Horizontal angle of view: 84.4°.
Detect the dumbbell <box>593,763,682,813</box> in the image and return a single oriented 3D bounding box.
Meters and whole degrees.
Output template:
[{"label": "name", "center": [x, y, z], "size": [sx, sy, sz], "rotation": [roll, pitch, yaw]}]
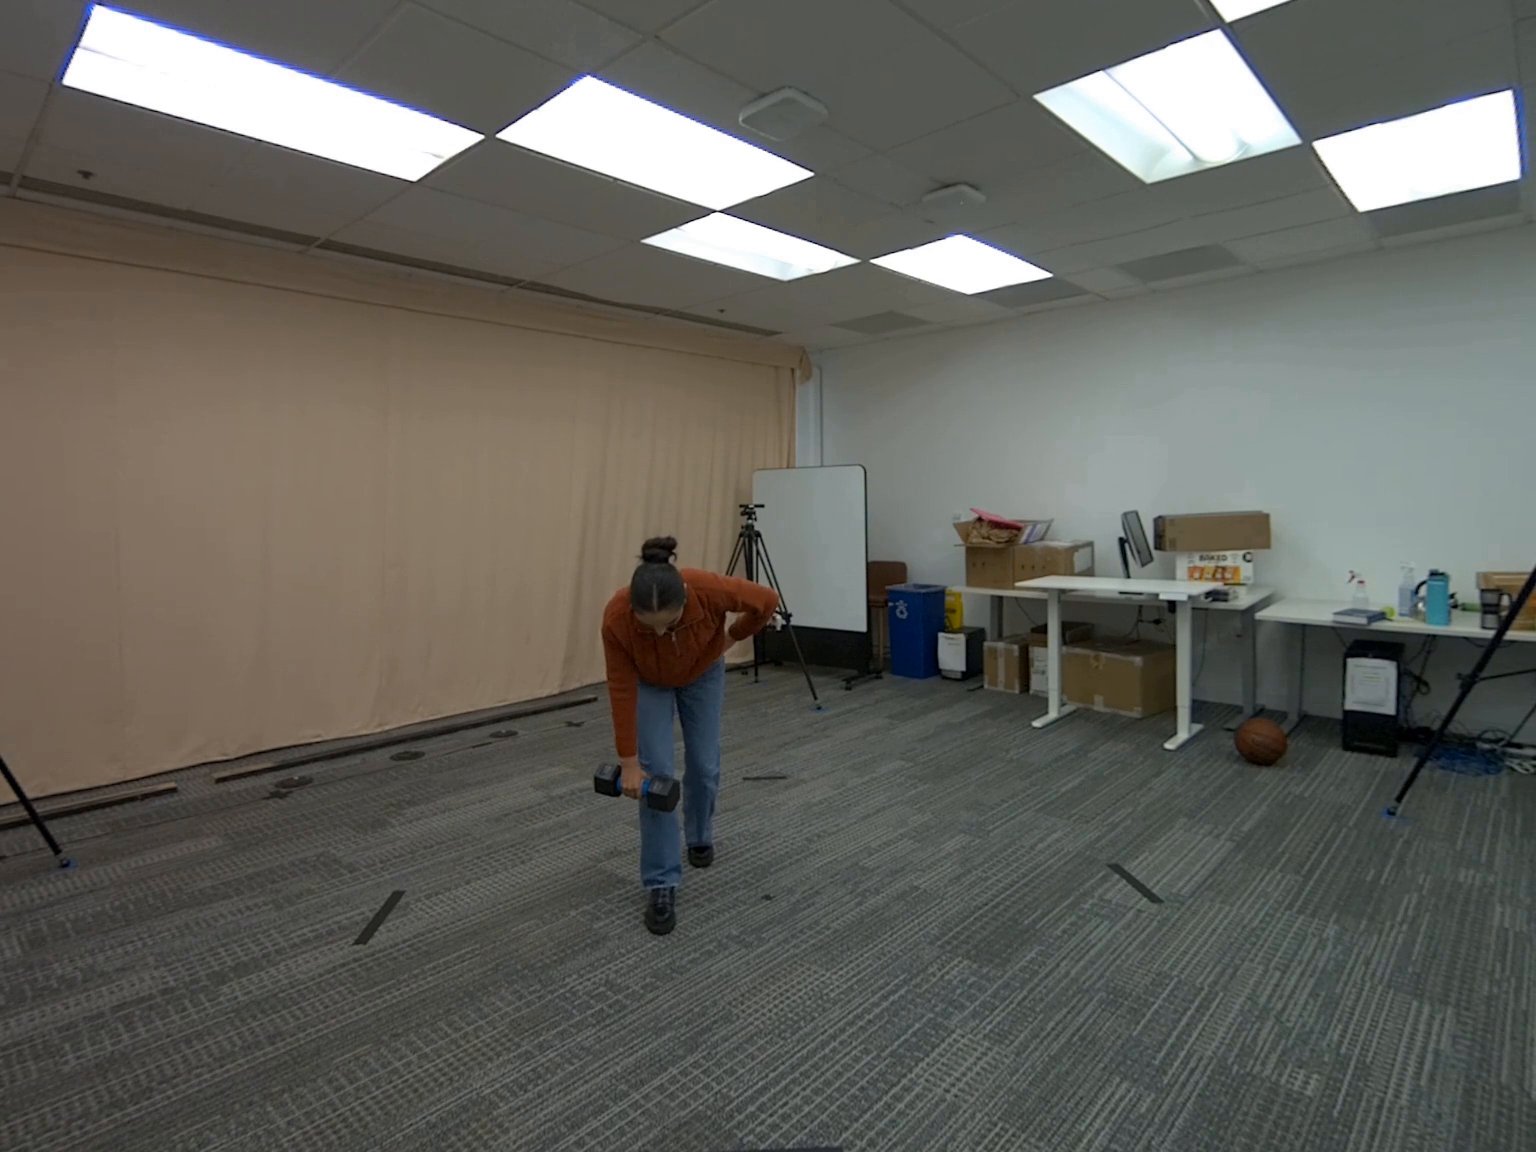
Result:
[{"label": "dumbbell", "center": [-0.449, 0.712, 2.848], "size": [0.301, 0.122, 0.107], "rotation": [7, 19, 26]}]
